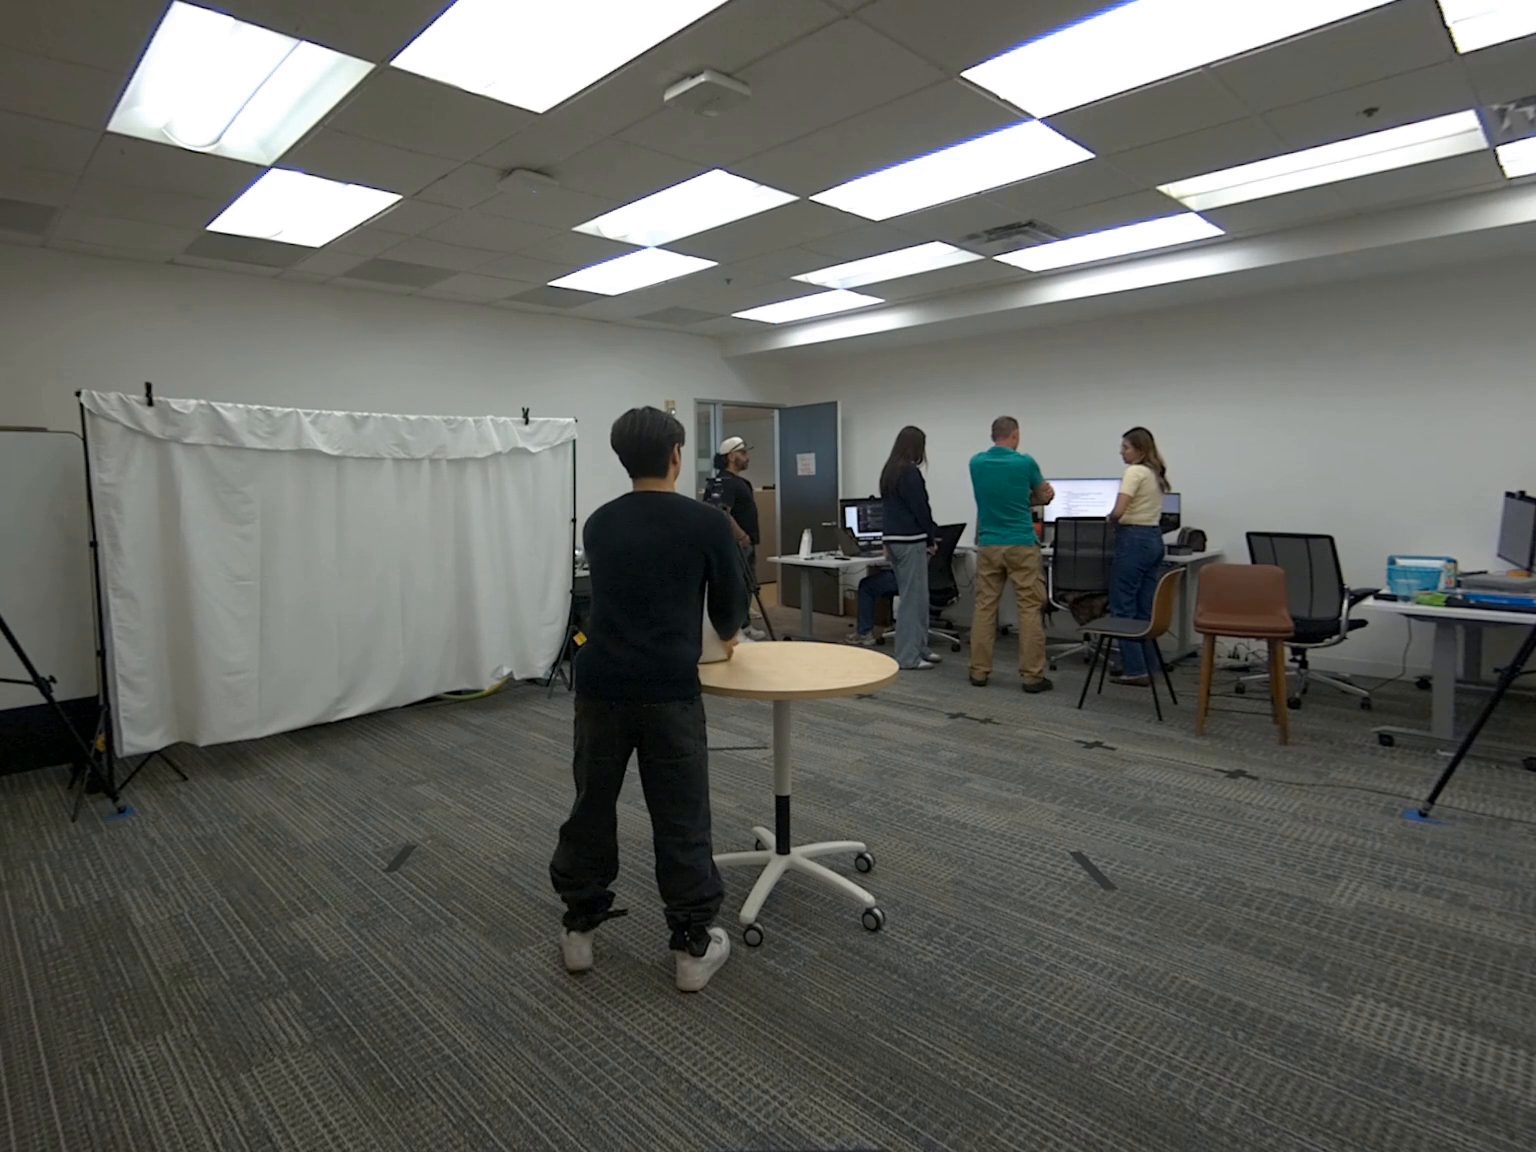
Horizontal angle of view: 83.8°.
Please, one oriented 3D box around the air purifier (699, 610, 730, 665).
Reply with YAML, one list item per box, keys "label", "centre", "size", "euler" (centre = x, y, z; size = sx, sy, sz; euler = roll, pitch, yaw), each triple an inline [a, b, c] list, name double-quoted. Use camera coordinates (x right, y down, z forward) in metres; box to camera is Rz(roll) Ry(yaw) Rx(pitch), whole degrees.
- label: "air purifier"
  centre: [-0.203, 0.151, 2.906]
  size: [0.167, 0.264, 0.176]
  euler: [-3, 5, -34]
